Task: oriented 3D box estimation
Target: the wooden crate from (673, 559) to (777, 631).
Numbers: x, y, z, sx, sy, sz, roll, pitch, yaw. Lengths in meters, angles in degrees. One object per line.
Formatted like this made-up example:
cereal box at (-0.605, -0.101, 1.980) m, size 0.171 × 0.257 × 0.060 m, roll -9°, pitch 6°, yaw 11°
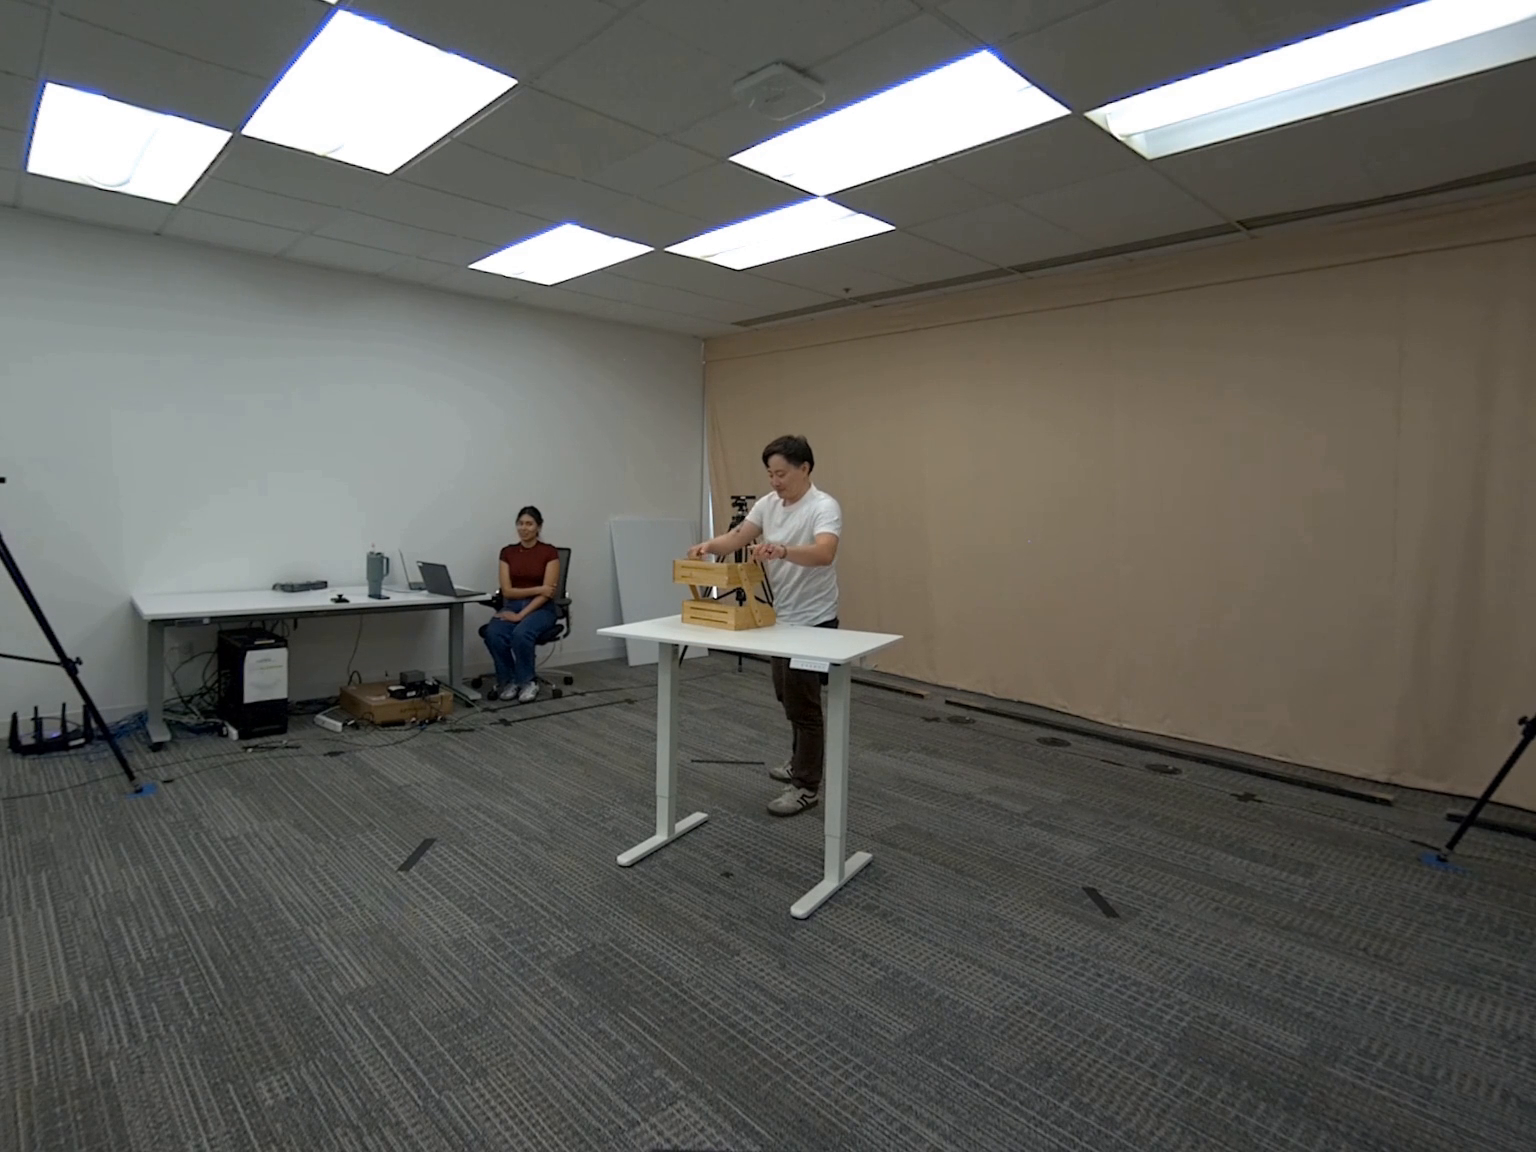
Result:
wooden crate at (-0.177, 0.065, 3.384) m, size 0.332 × 0.272 × 0.295 m, roll 4°, pitch 5°, yaw 40°
